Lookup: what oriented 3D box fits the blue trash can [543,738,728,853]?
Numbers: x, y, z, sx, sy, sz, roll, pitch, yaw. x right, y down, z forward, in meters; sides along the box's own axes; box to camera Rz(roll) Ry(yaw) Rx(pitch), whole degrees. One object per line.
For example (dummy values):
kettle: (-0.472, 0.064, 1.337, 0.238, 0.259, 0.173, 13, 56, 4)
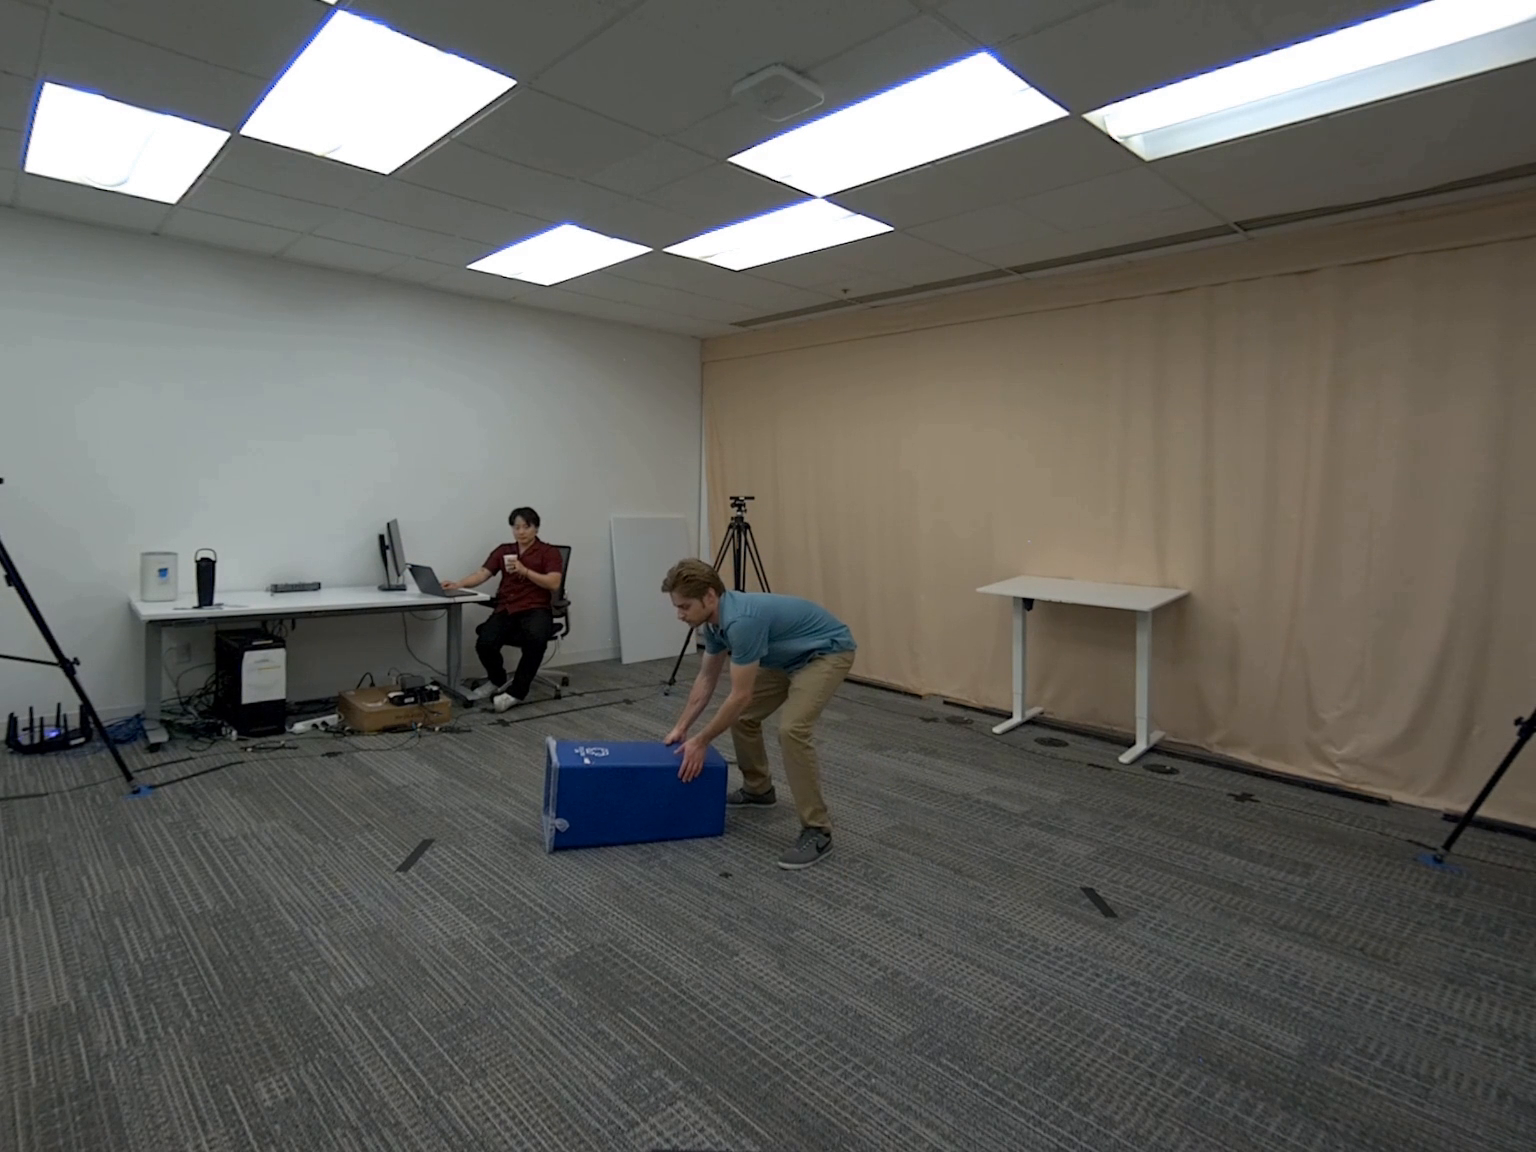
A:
blue trash can: (-0.567, 0.892, 3.494, 0.703, 0.377, 0.380, 3, 4, -18)
